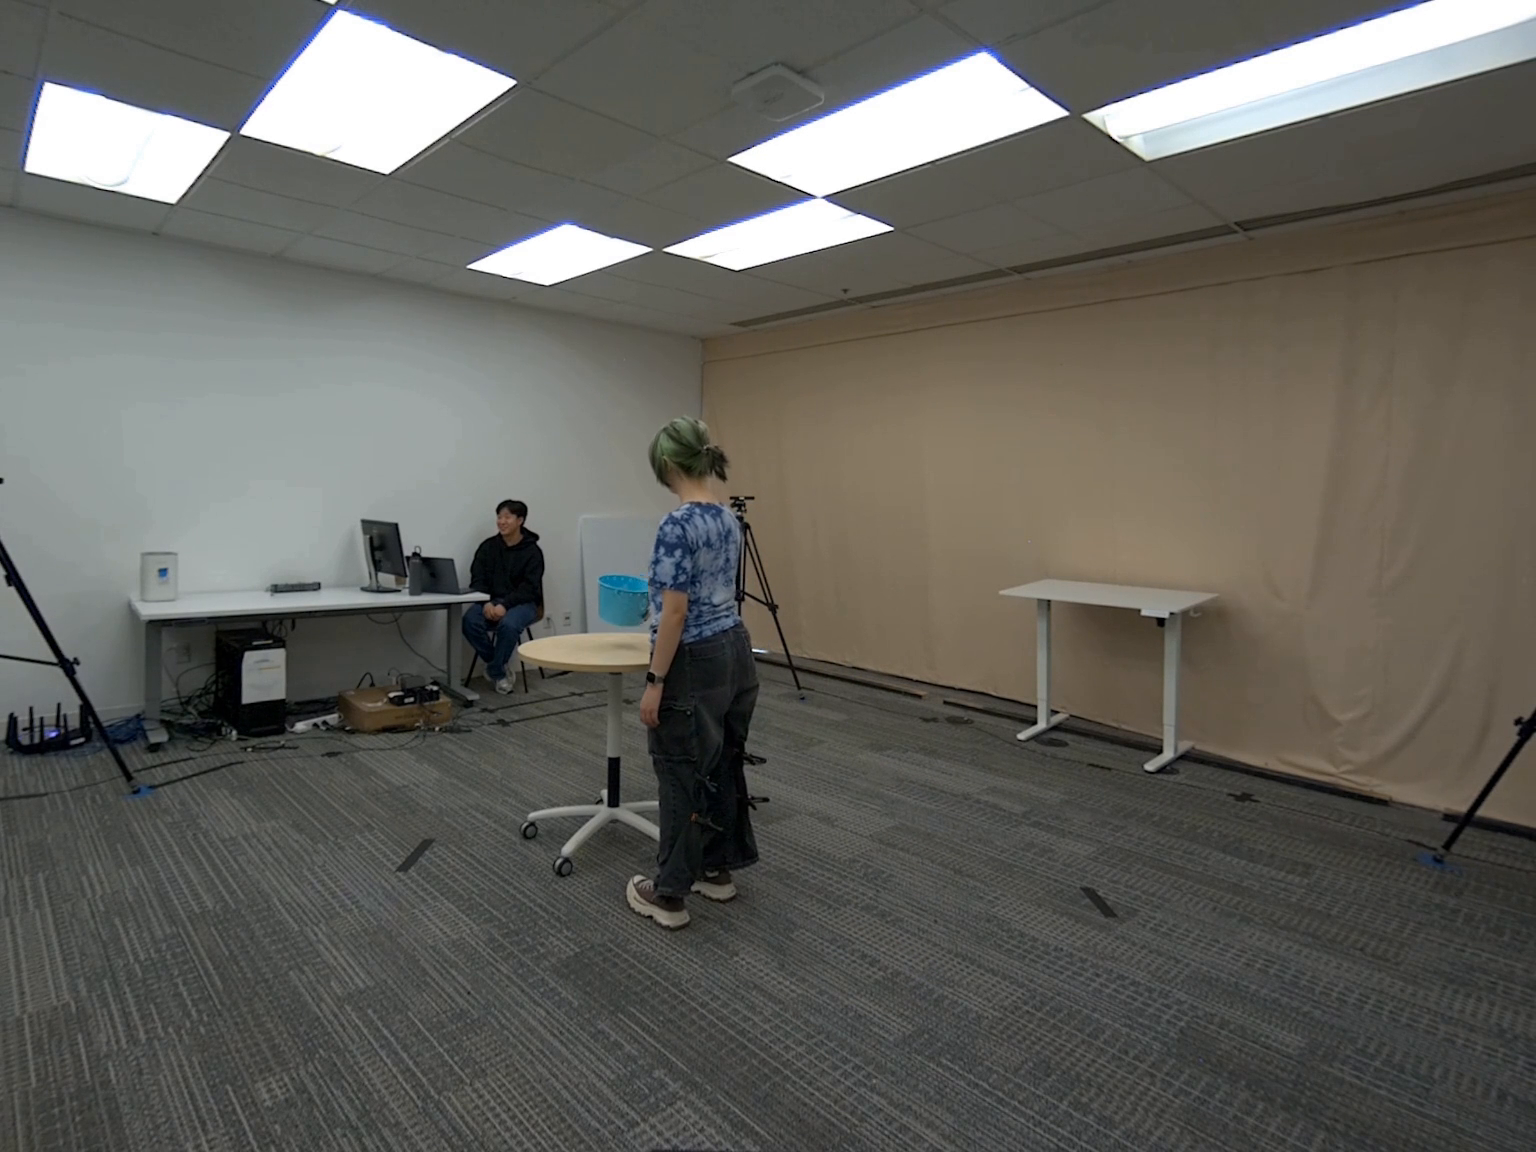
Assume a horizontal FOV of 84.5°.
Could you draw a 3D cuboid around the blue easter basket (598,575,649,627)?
[{"bbox_3d":[-0.580,0.104,3.368,0.243,0.155,0.246,8,12,-3],"label":"blue easter basket"}]
